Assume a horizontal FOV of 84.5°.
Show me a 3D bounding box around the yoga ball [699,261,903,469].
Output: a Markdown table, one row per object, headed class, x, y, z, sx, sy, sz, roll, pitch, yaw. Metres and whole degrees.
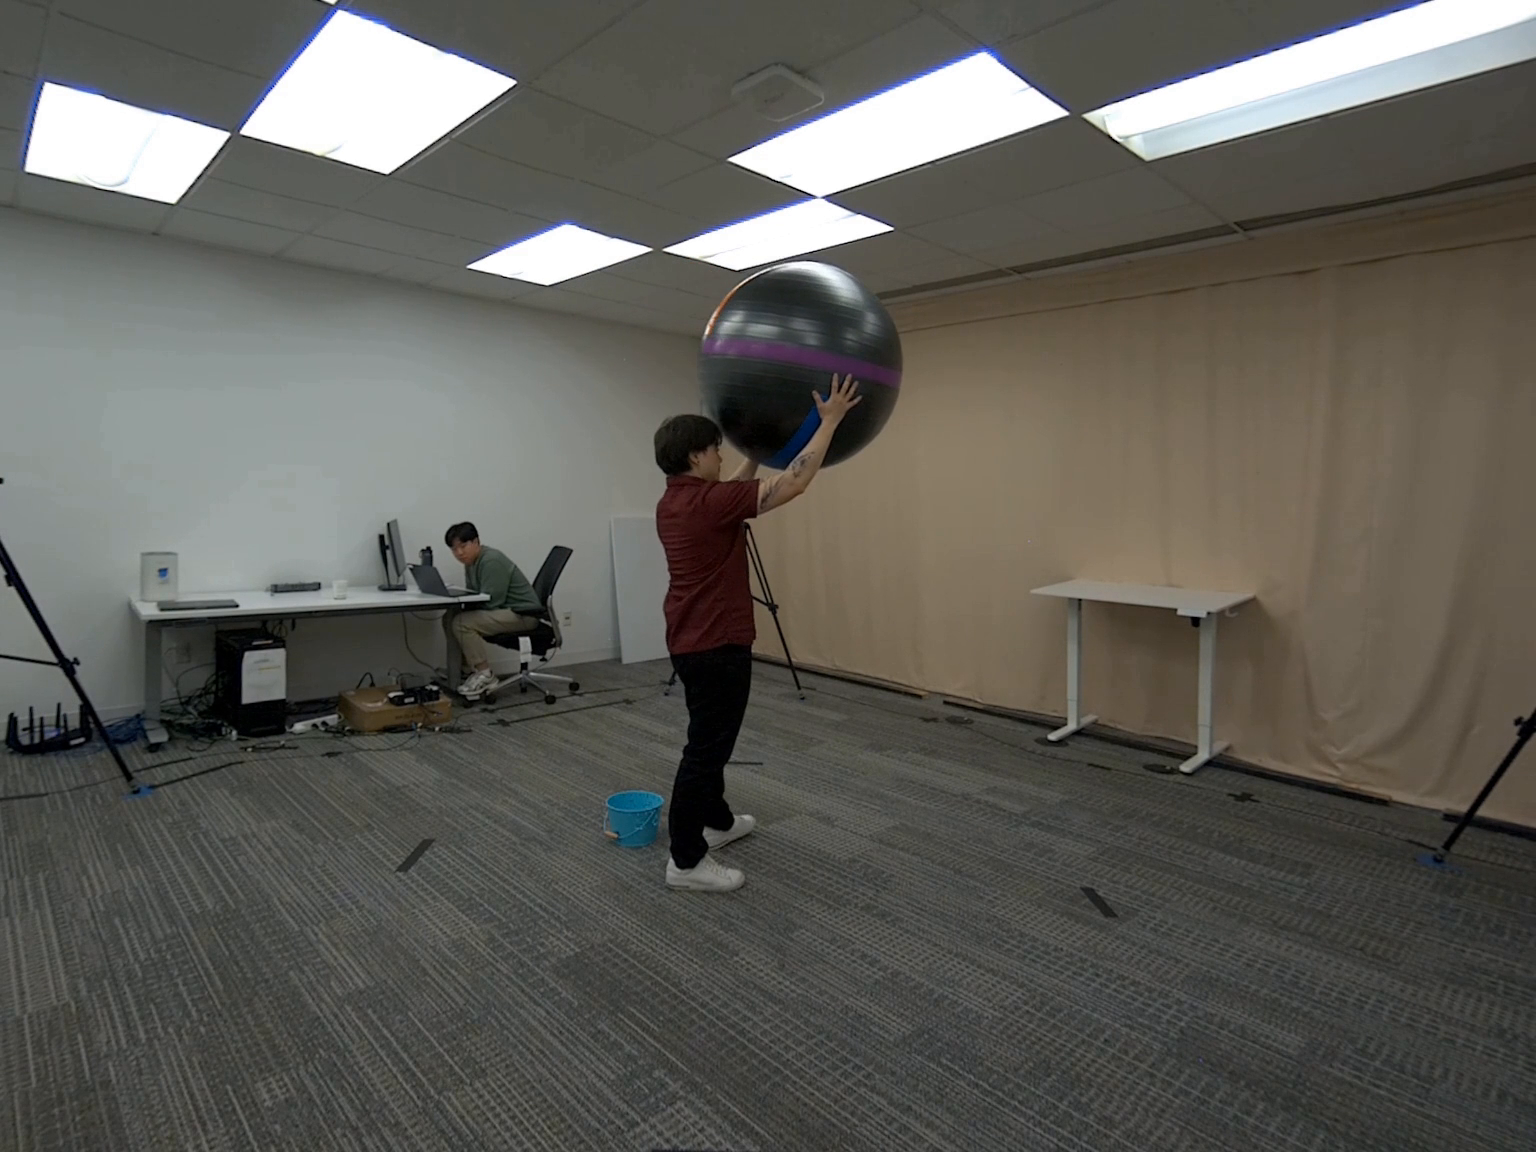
| class | x | y | z | sx | sy | sz | roll | pitch | yaw |
| --- | --- | --- | --- | --- | --- | --- | --- | --- | --- |
| yoga ball | 0.113 | -0.771 | 3.155 | 0.757 | 0.756 | 0.761 | 1 | 4 | -1 |
